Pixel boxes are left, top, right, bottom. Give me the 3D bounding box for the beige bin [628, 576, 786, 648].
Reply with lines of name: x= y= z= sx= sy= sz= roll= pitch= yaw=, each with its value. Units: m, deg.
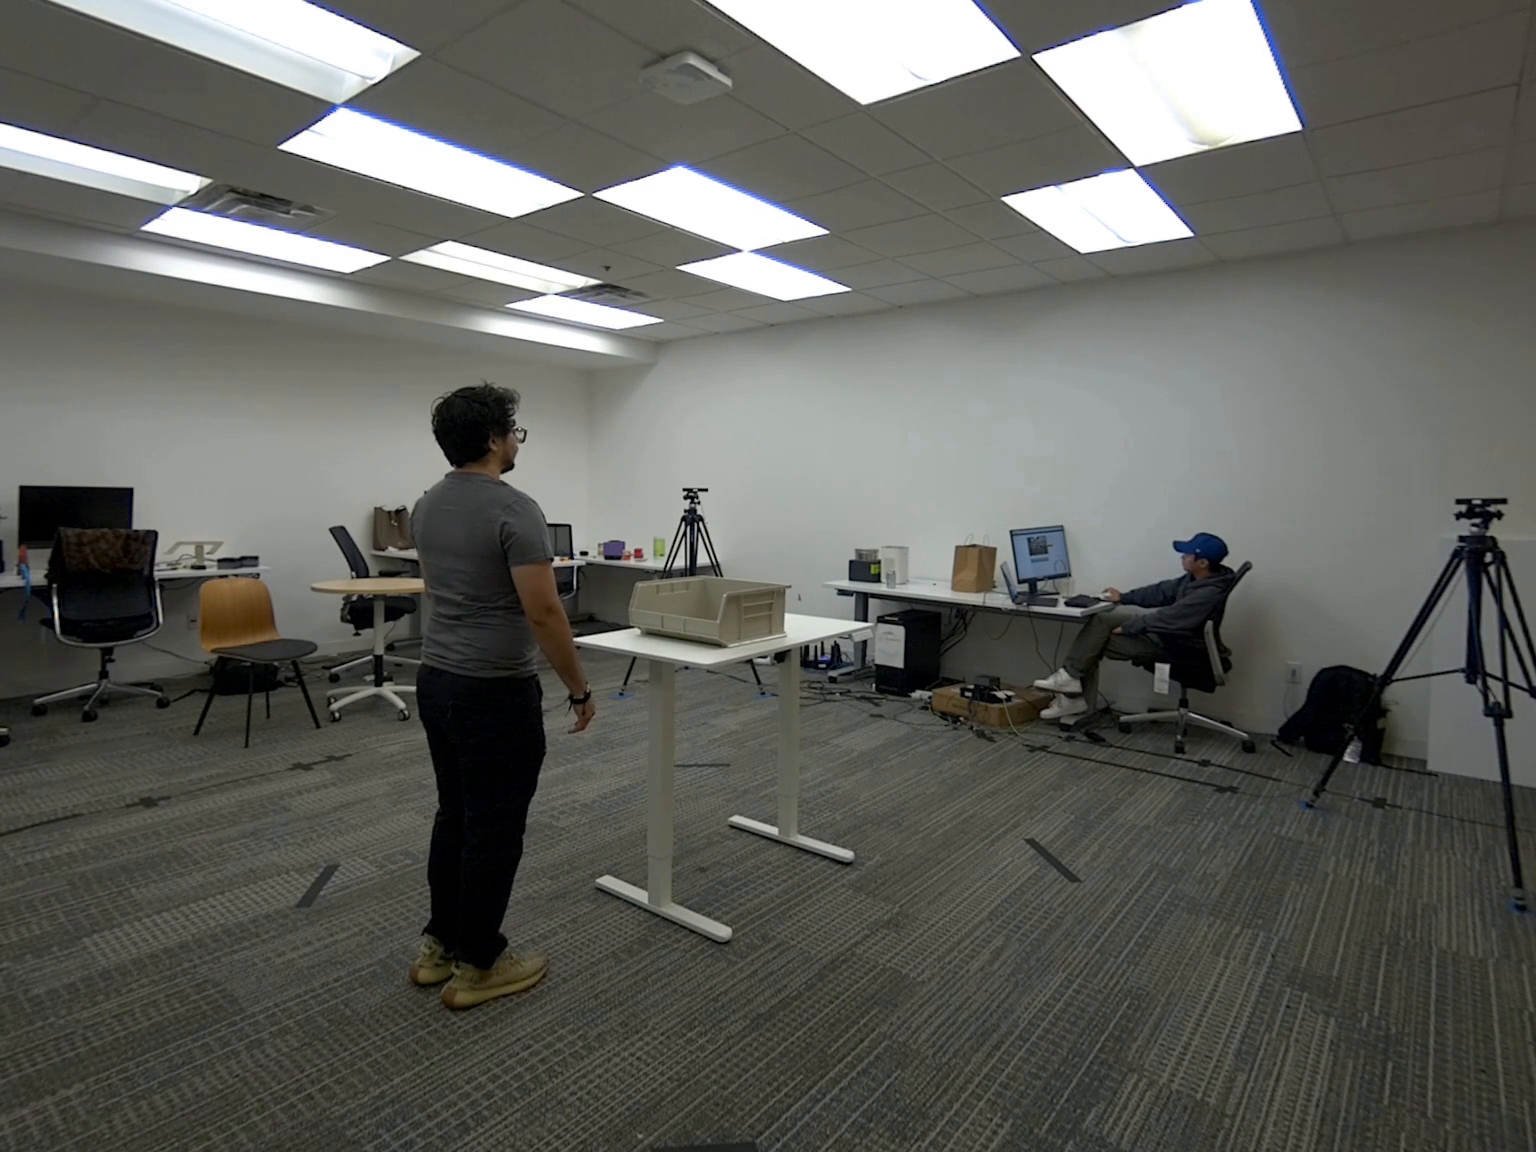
beige bin: x=-0.210 y=0.119 z=2.933 sx=0.436 sy=0.188 sz=0.366 roll=4 pitch=5 yaw=39
